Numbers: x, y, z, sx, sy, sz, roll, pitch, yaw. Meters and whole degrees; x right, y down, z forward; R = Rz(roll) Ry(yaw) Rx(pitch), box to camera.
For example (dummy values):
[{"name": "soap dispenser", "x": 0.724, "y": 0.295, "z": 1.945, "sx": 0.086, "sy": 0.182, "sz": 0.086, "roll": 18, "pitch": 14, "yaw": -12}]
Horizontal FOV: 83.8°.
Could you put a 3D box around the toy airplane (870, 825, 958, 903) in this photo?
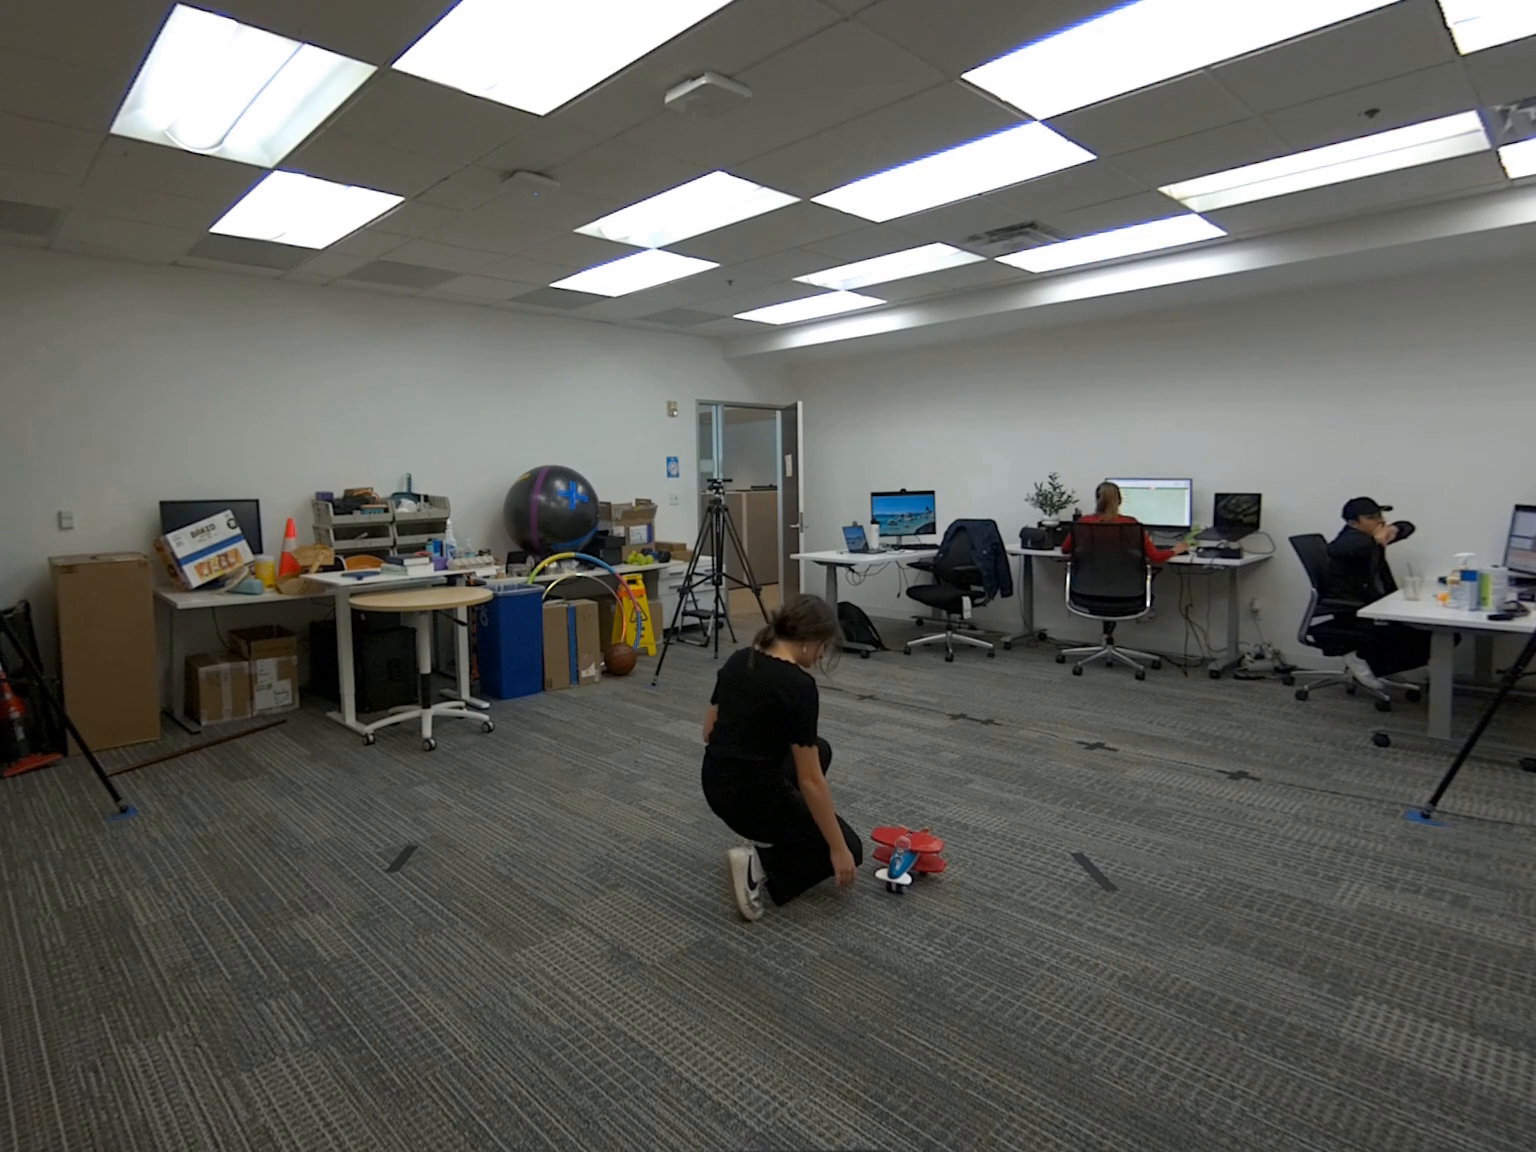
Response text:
[{"name": "toy airplane", "x": 0.491, "y": 0.977, "z": 2.931, "sx": 0.252, "sy": 0.156, "sz": 0.259, "roll": -1, "pitch": 4, "yaw": 2}]
